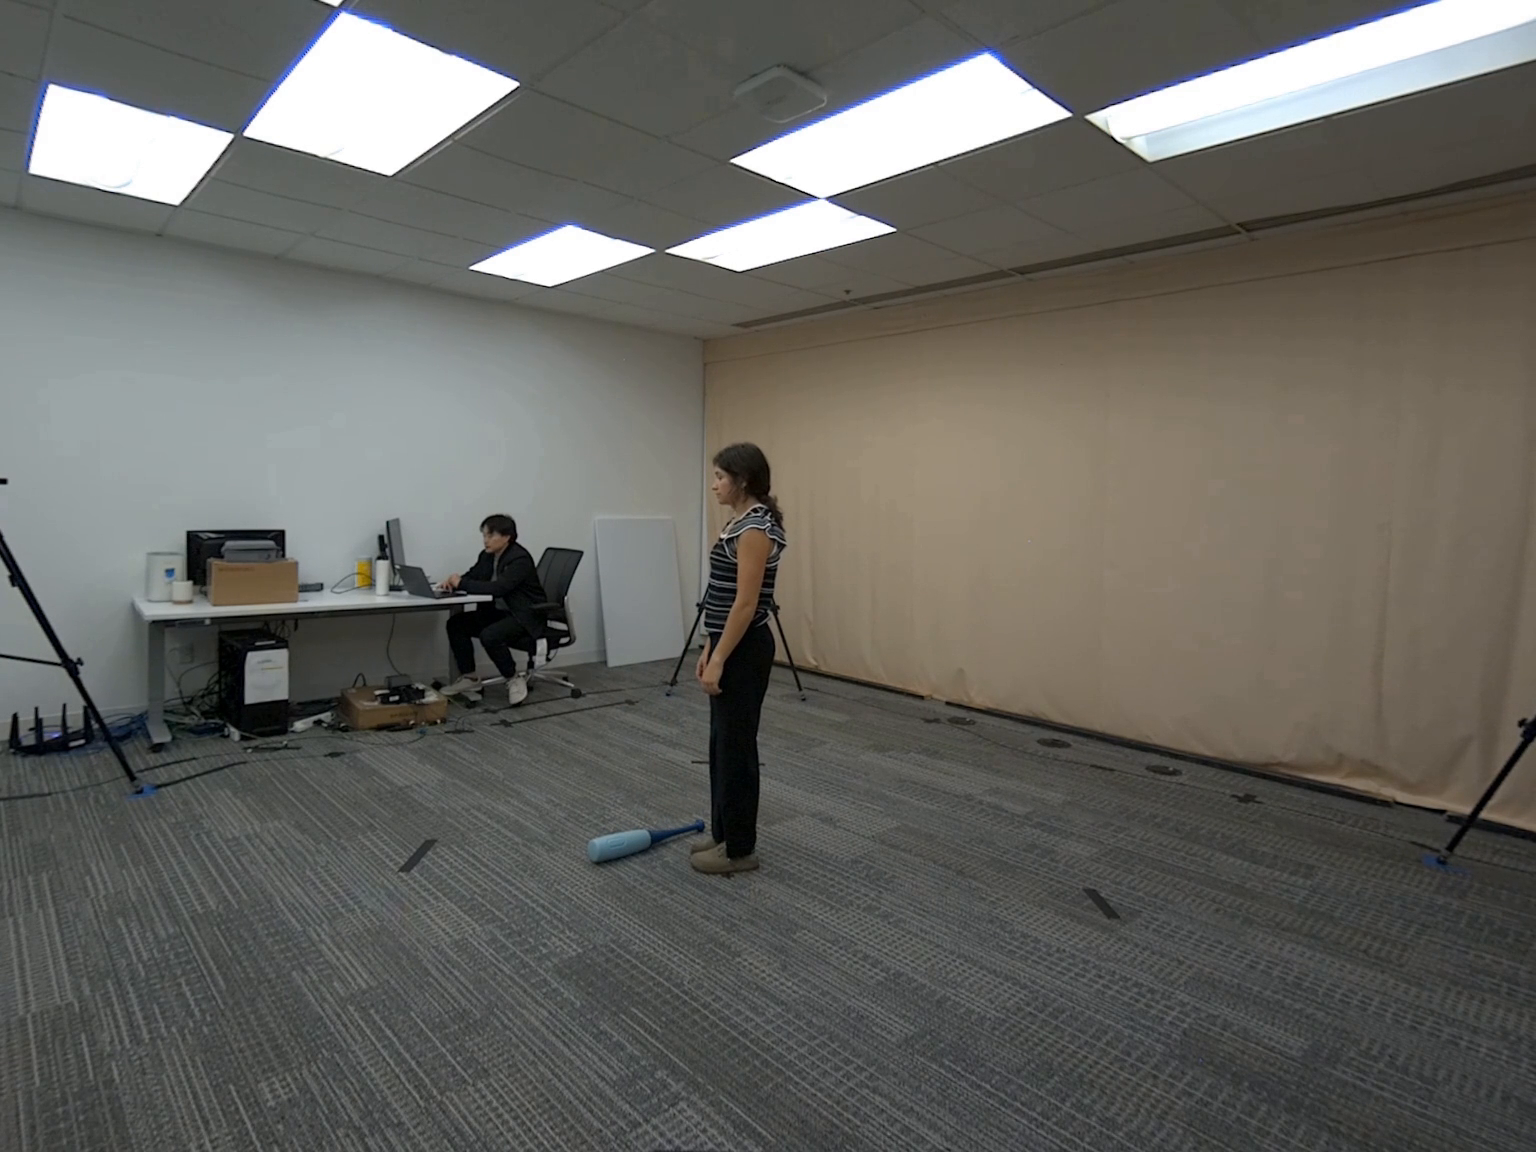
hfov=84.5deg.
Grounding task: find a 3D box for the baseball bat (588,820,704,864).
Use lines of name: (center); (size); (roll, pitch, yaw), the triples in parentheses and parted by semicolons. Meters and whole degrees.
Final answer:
baseball bat: (-0.473, 1.042, 3.348); (0.530, 0.089, 0.091); (2, 3, -42)
